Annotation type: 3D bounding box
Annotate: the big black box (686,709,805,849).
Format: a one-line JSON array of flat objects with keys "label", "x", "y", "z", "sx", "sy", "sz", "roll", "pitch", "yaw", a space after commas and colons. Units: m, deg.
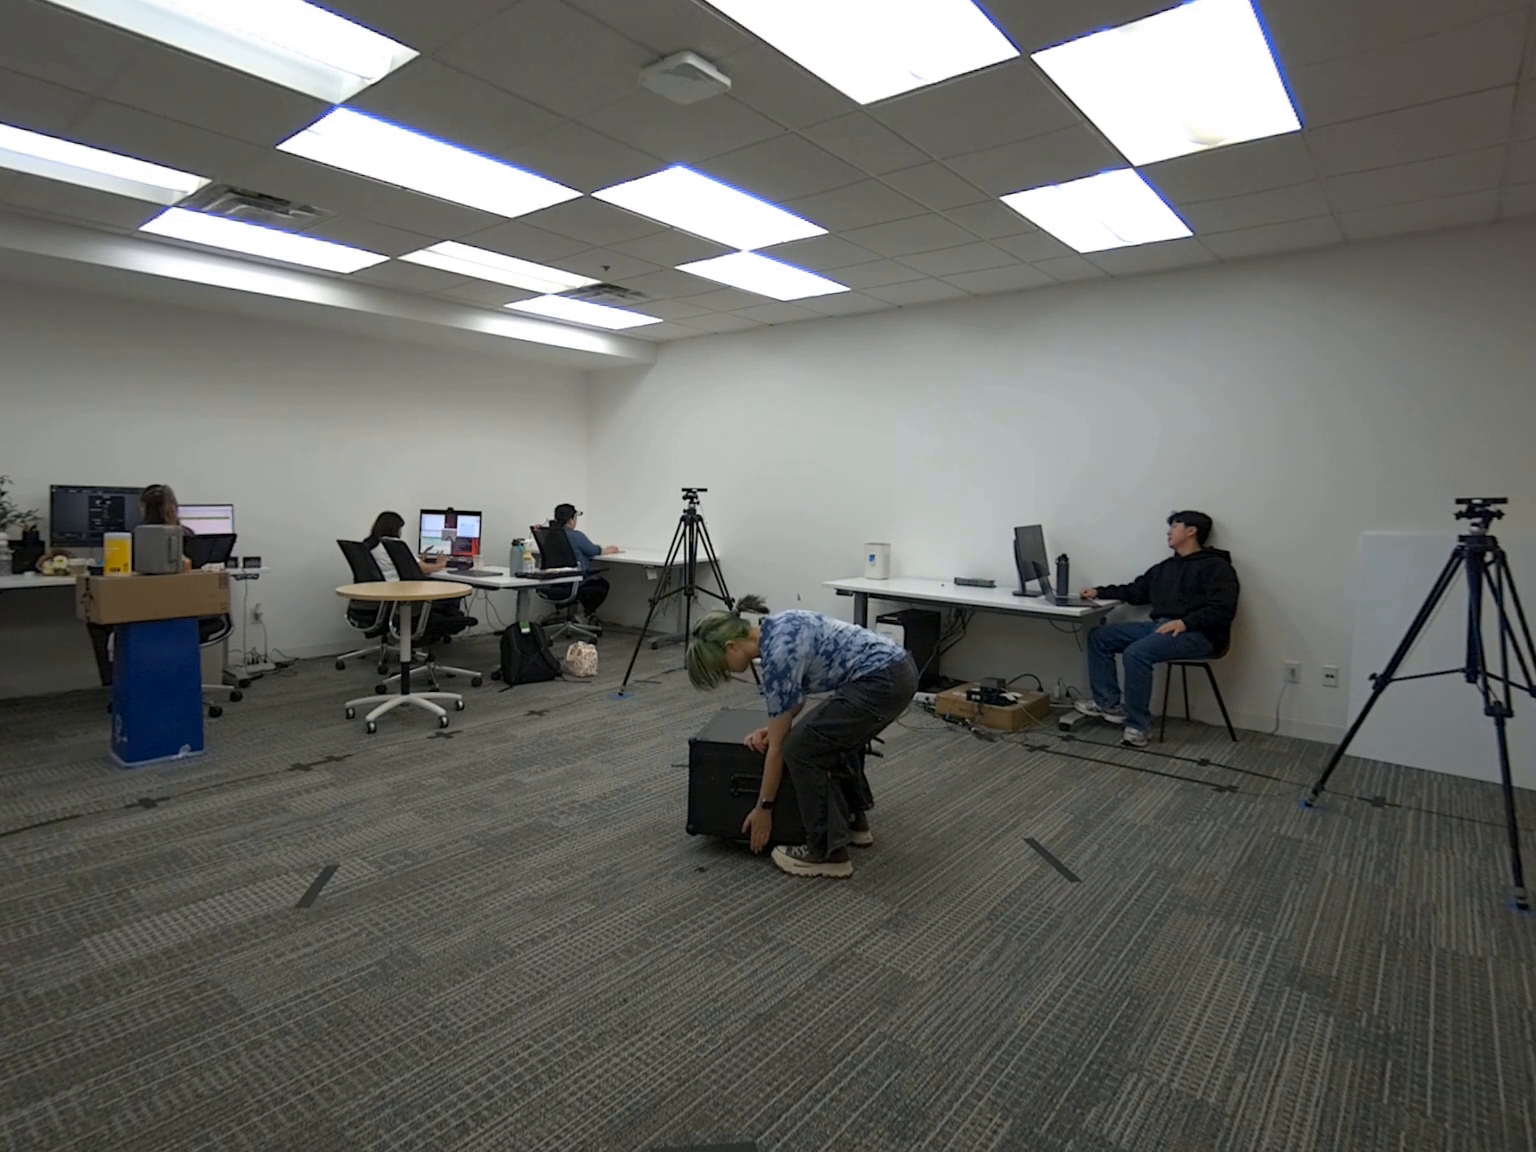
[{"label": "big black box", "x": -0.019, "y": 0.807, "z": 3.598, "sx": 0.527, "sy": 0.396, "sz": 0.853, "roll": 1, "pitch": 2, "yaw": 9}]
